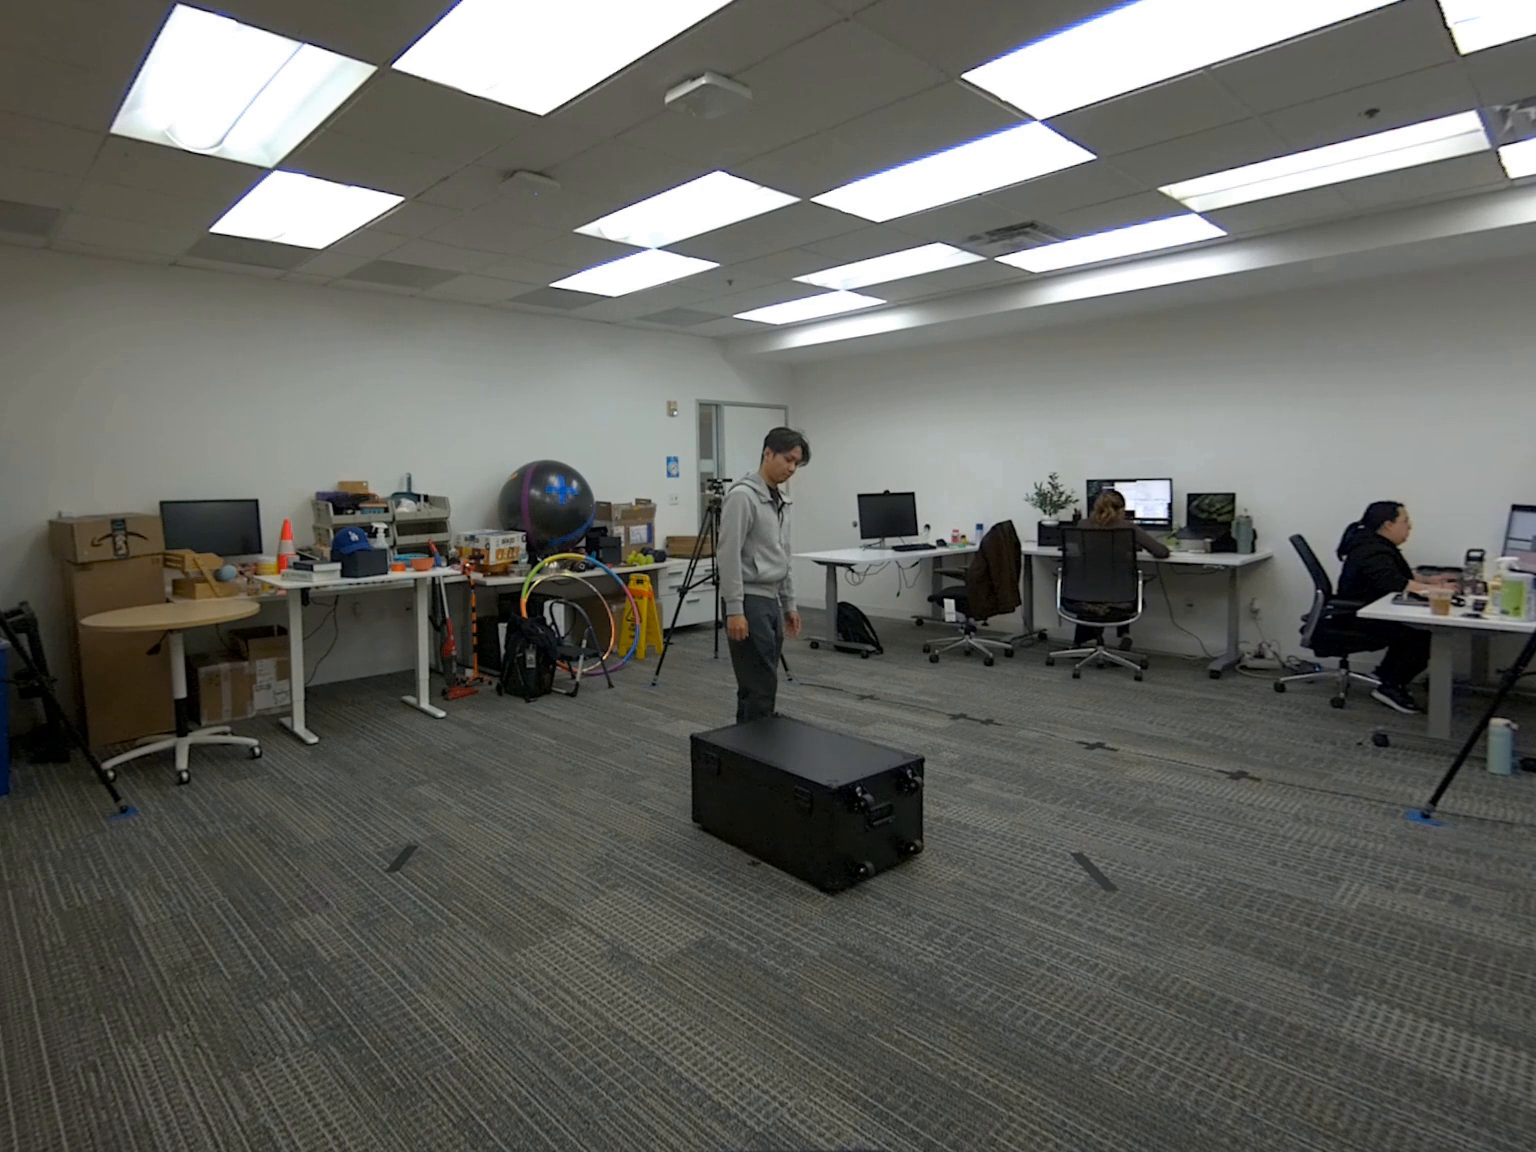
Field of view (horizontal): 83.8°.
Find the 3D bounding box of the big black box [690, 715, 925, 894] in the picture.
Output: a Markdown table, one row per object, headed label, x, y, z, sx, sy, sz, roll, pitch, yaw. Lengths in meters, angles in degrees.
| label | x | y | z | sx | sy | sz | roll | pitch | yaw |
| --- | --- | --- | --- | --- | --- | --- | --- | --- | --- |
| big black box | 0.151 | 0.834 | 3.250 | 0.508 | 0.395 | 0.888 | -5 | 7 | -41 |
